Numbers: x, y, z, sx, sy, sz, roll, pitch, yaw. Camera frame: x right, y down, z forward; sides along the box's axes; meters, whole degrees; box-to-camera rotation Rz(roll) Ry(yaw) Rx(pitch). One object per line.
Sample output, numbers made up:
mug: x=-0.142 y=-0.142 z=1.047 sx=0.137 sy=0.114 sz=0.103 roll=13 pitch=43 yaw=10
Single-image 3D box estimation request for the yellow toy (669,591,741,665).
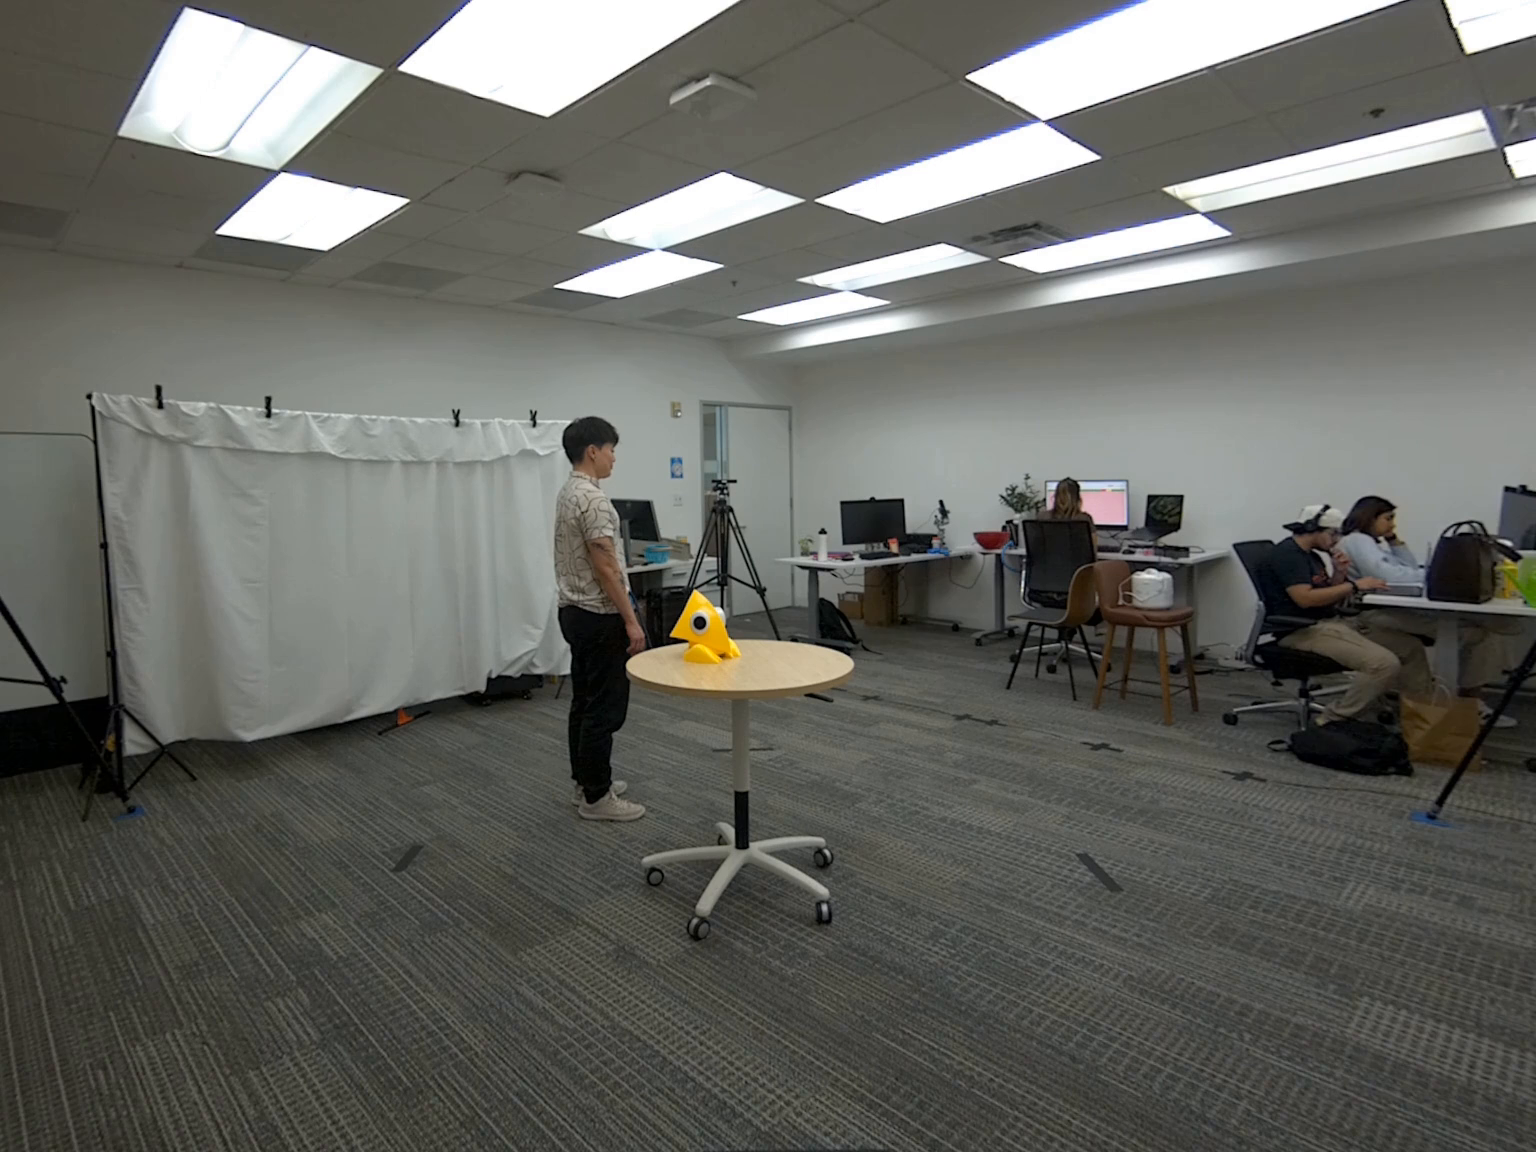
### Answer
yellow toy: x=-0.201 y=0.167 z=2.965 sx=0.199 sy=0.230 sz=0.200 roll=3 pitch=6 yaw=36
